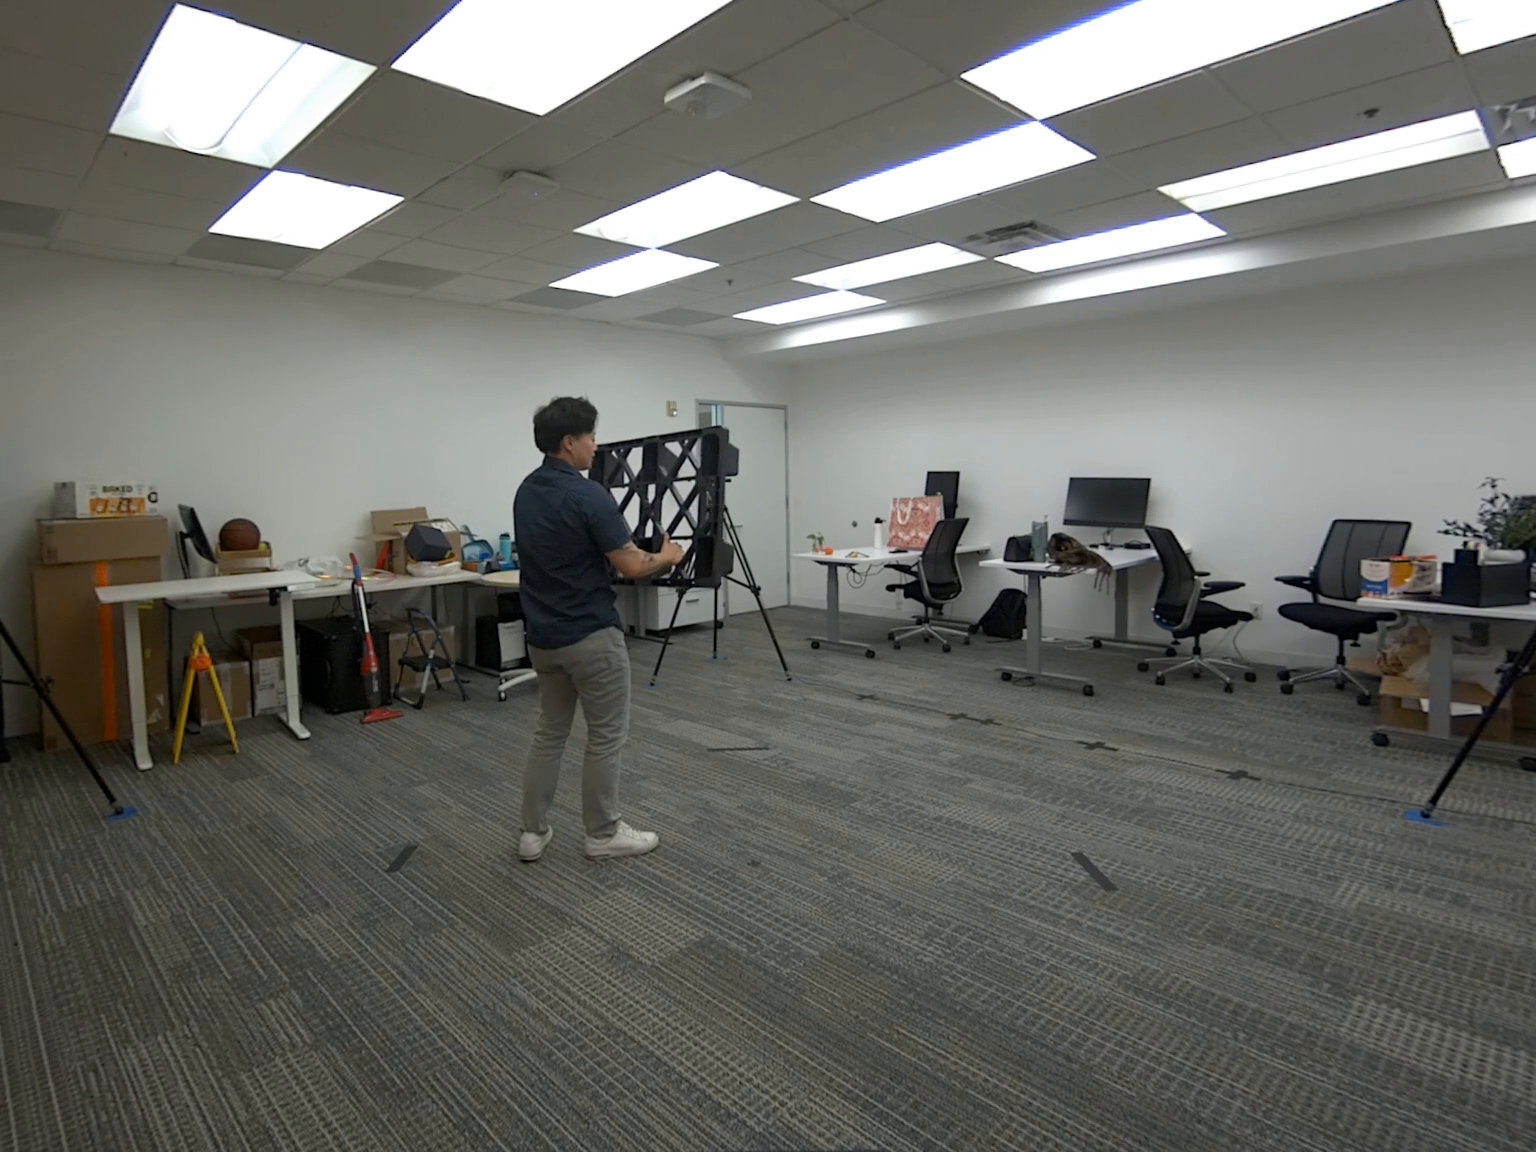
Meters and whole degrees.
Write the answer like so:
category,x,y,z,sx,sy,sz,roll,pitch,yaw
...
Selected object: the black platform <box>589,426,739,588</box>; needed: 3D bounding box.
category,x,y,z,sx,sy,sz,roll,pitch,yaw
black platform,-0.440,-0.255,3.418,0.829,0.608,0.139,0,-6,43
